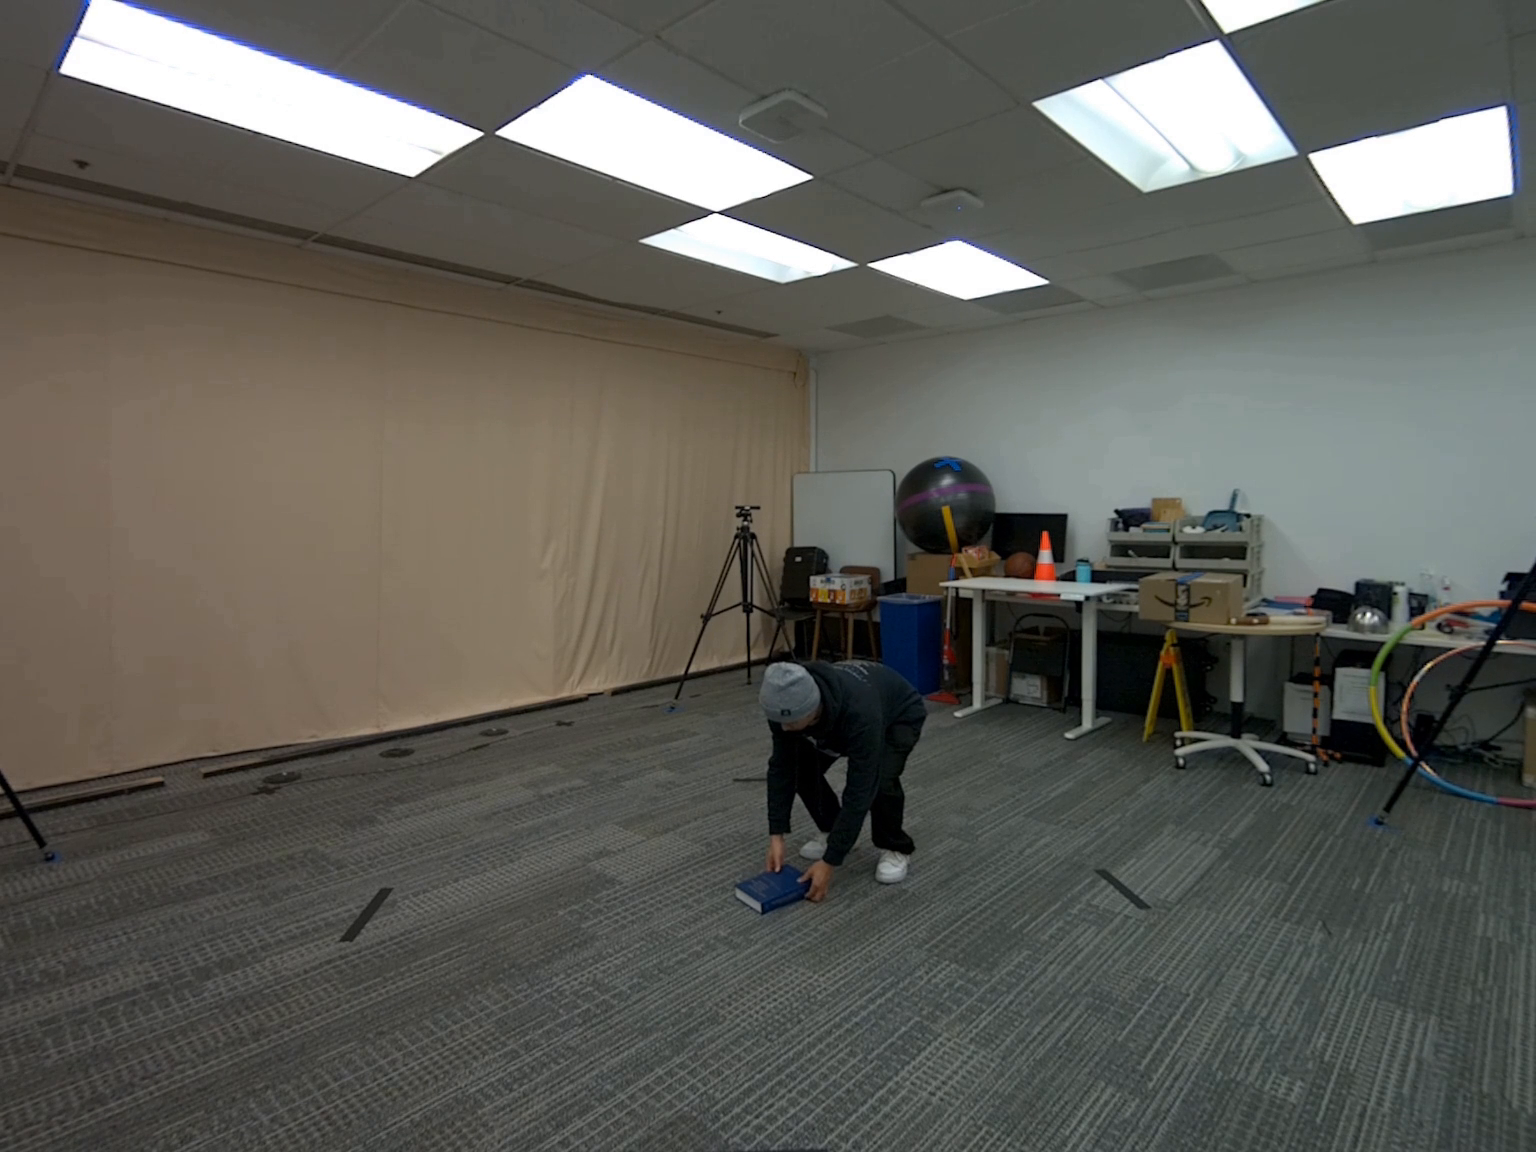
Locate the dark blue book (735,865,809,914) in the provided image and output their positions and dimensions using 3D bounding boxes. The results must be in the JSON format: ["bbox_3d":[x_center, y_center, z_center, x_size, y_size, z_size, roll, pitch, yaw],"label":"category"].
[{"bbox_3d":[0.019,1.122,2.986,0.238,0.045,0.168,-7,9,-33],"label":"dark blue book"}]
